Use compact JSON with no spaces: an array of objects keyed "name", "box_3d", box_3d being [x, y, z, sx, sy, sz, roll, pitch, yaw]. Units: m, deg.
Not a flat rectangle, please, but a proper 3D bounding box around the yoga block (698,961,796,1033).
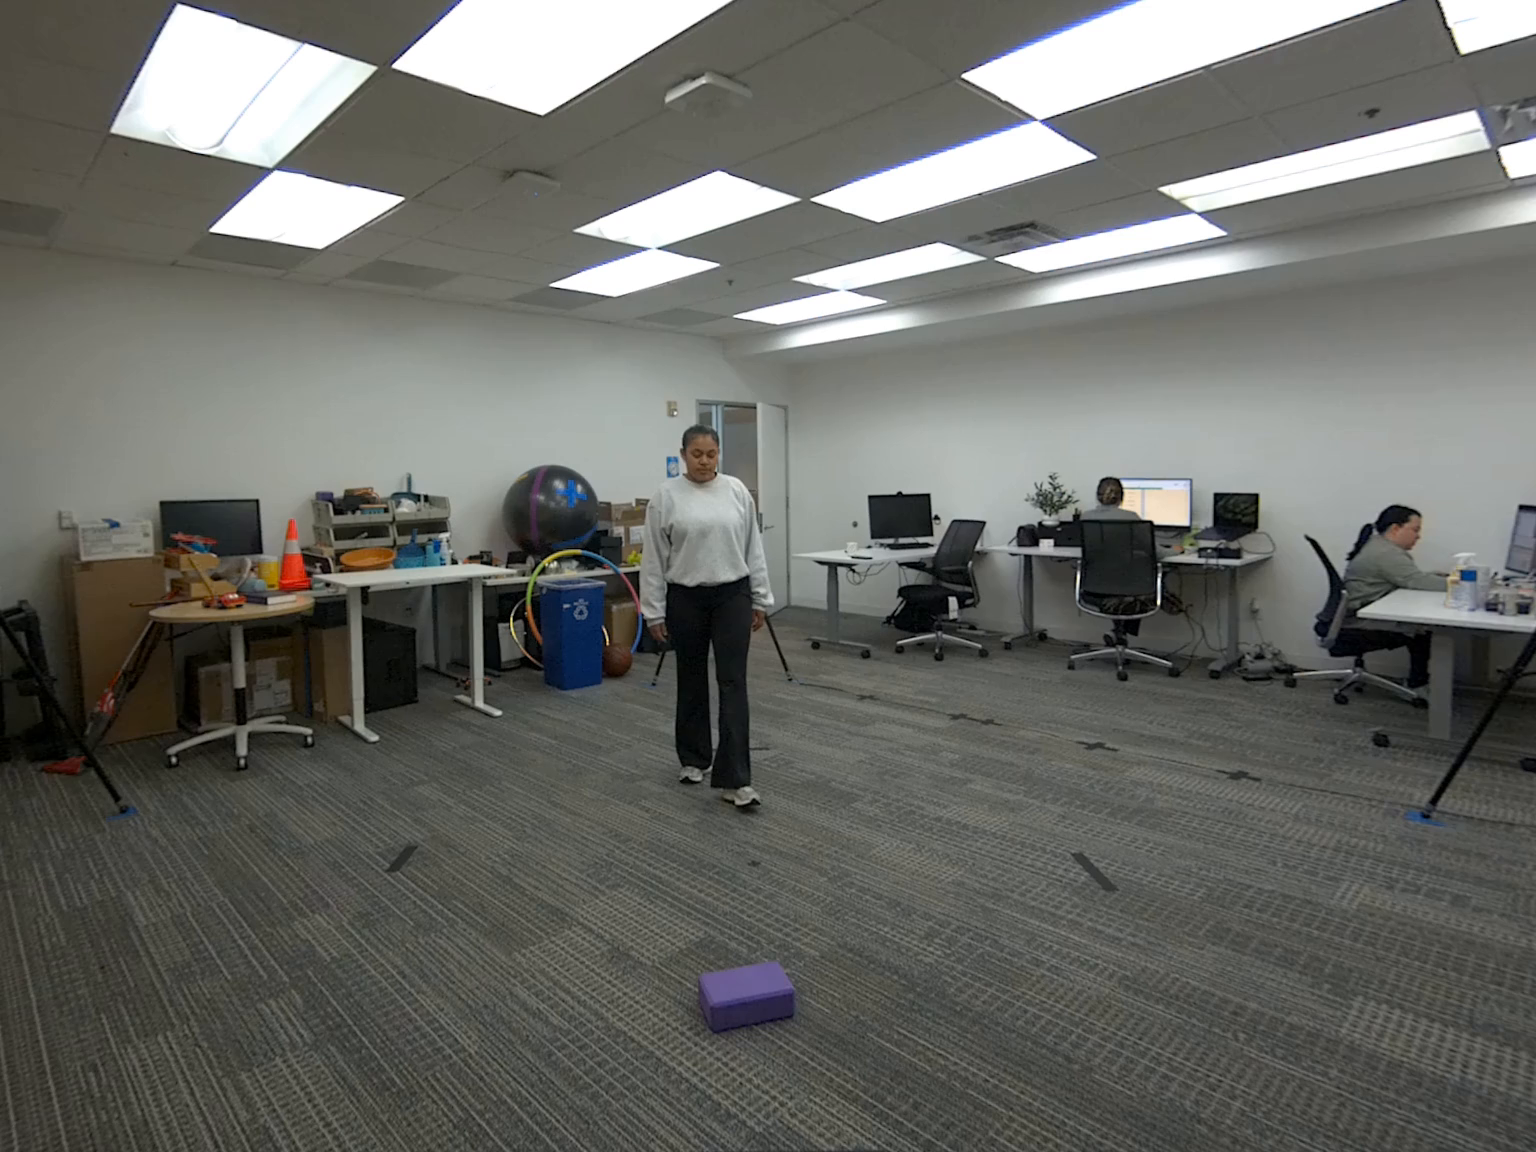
[{"name":"yoga block","box_3d":[-0.050,1.111,2.249,0.226,0.076,0.152,-3,6,-17]}]
